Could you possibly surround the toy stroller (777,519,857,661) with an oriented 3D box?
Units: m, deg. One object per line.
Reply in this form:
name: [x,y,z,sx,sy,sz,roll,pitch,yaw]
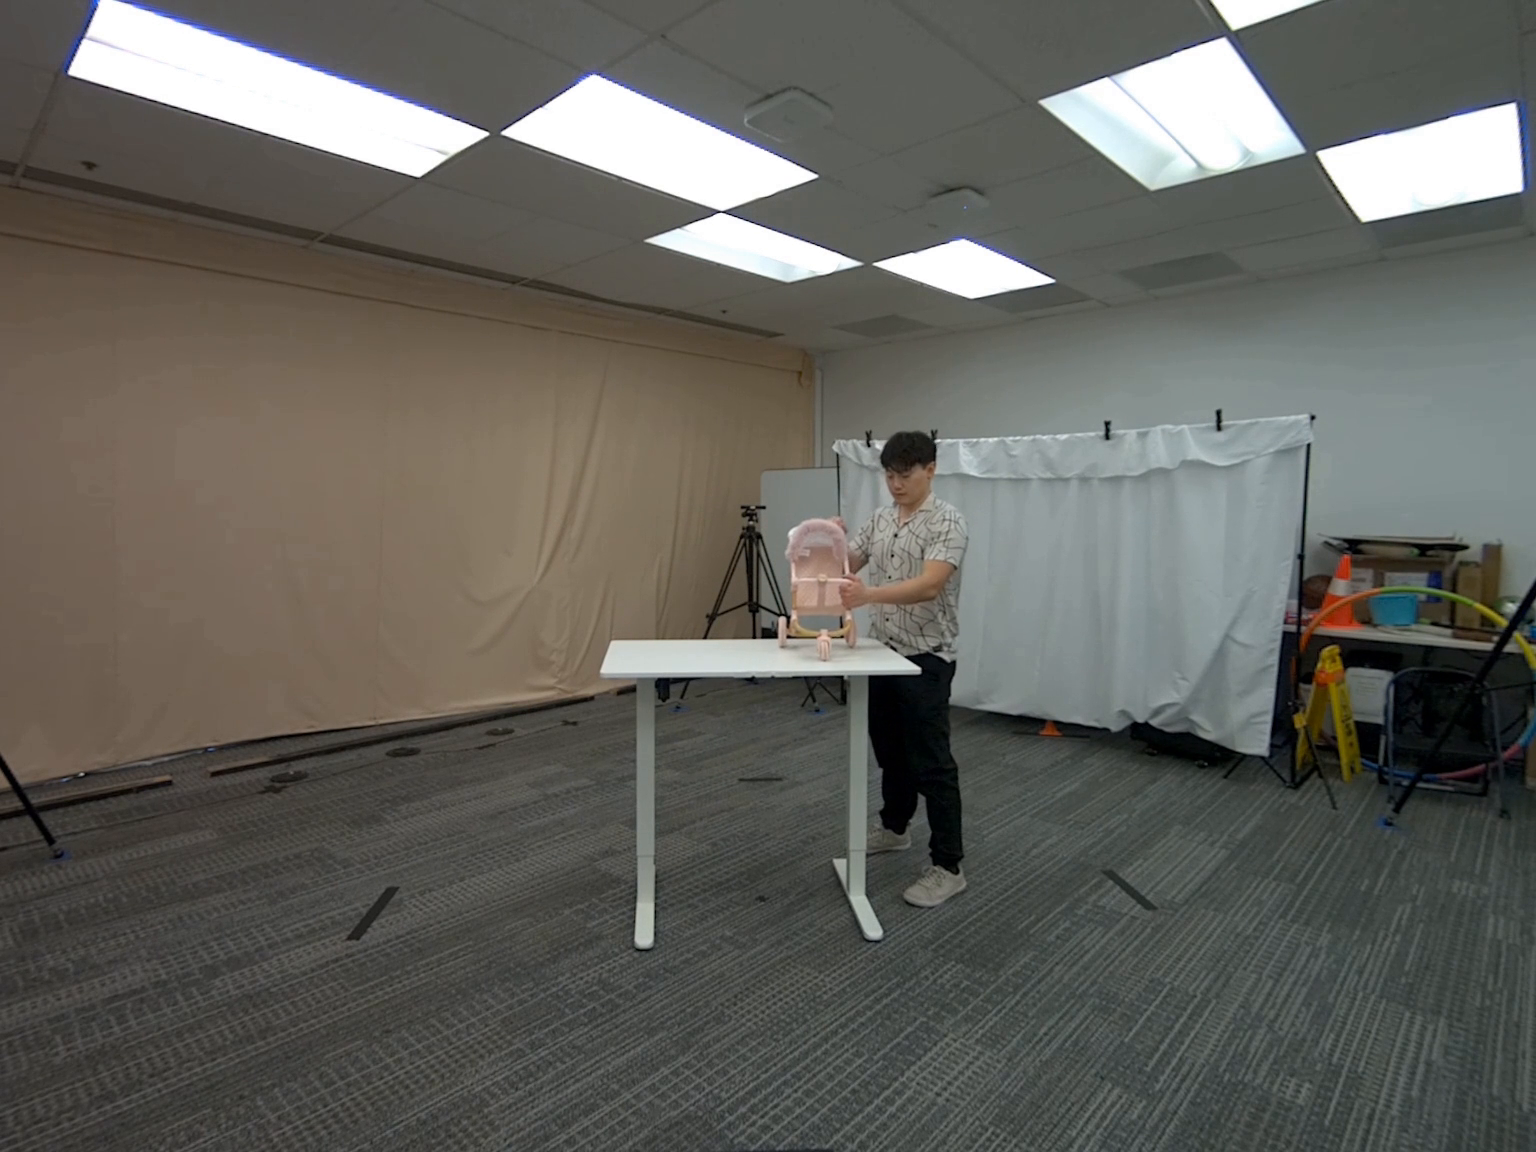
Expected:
toy stroller: [0.184,0.042,2.956,0.283,0.539,0.337,0,-12,3]
